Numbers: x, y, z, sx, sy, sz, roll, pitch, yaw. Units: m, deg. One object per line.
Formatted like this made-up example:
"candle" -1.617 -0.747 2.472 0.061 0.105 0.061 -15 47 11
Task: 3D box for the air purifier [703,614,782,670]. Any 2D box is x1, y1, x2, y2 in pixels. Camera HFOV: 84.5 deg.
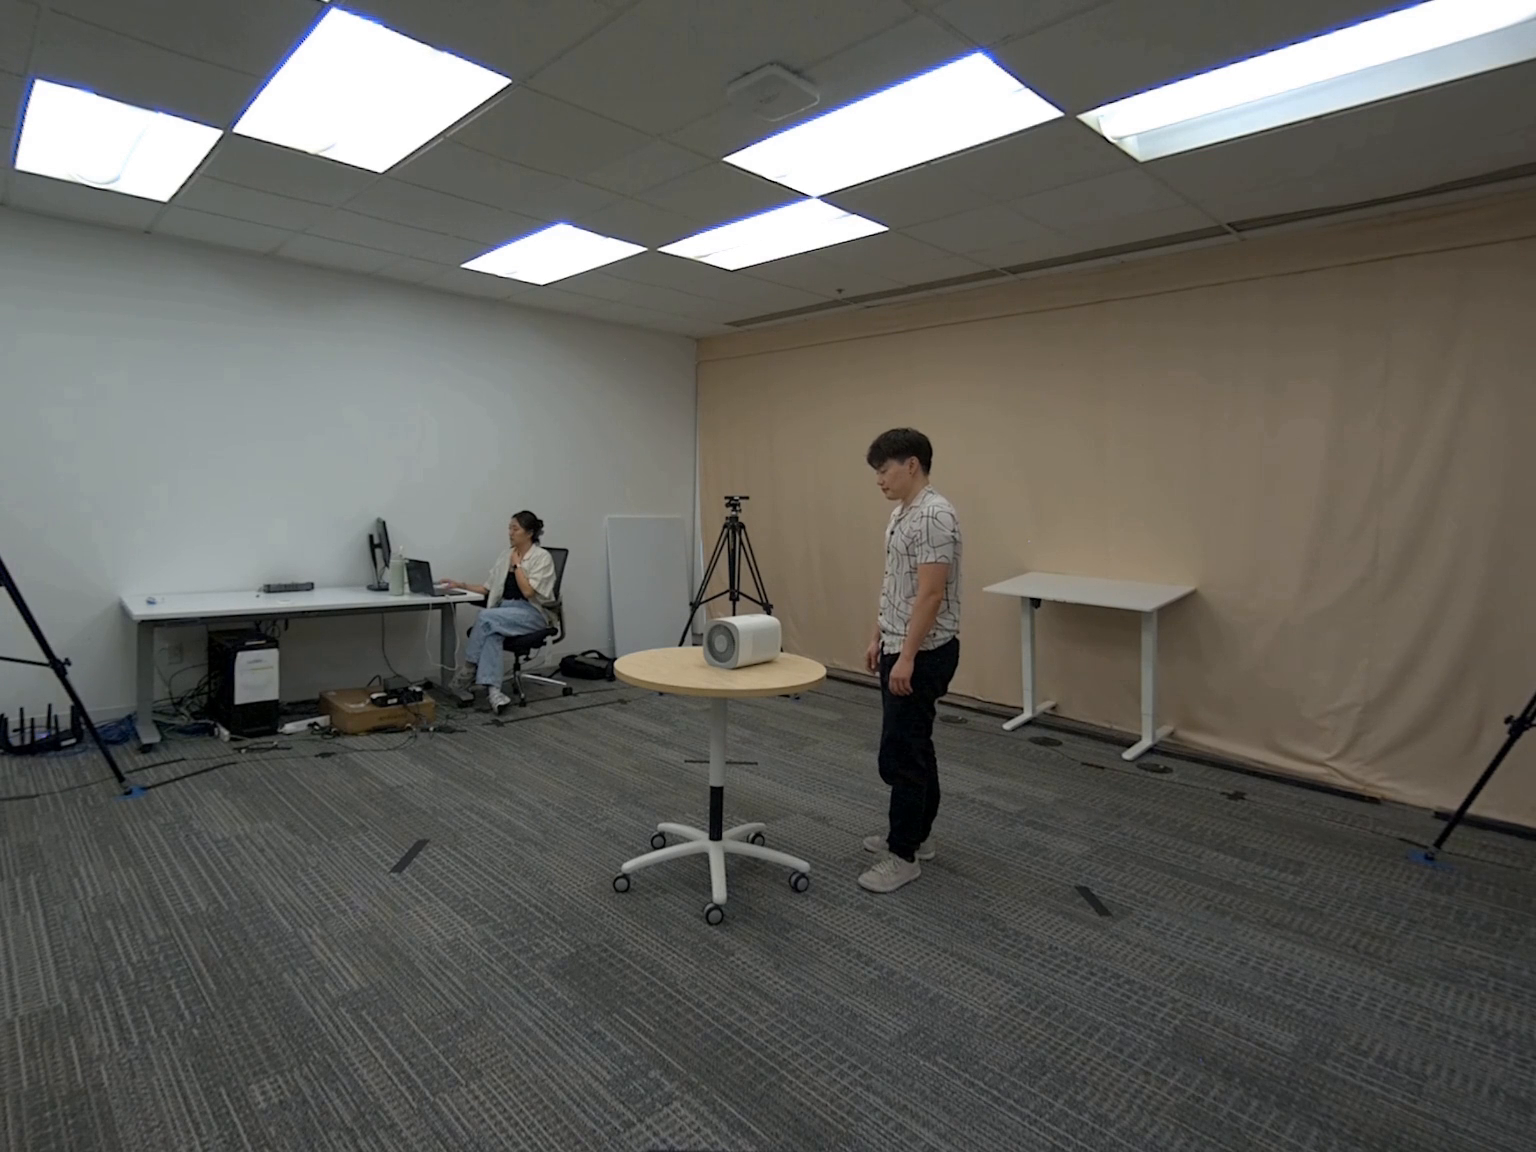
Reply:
"air purifier" -0.092 0.232 3.103 0.175 0.171 0.259 5 5 39
